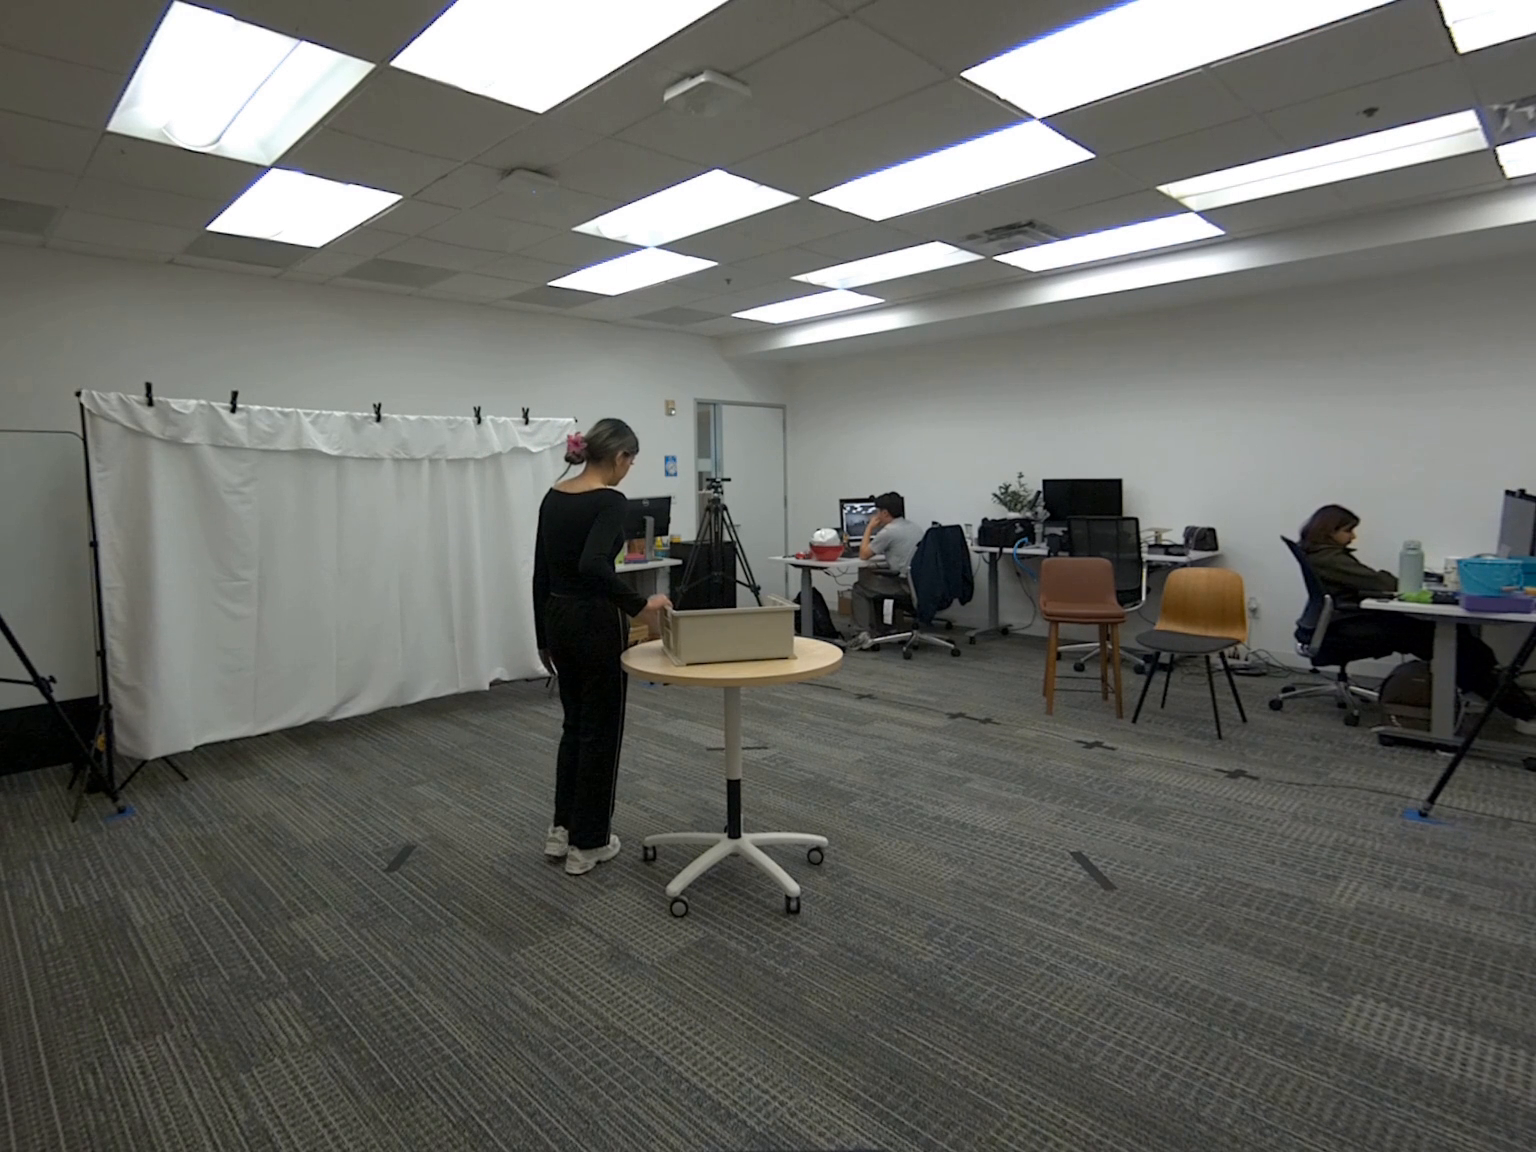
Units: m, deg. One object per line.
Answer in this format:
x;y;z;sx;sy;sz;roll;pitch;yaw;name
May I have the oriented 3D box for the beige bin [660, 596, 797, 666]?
-0.144;0.182;2.957;0.417;0.188;0.383;-1;5;-13;beige bin
